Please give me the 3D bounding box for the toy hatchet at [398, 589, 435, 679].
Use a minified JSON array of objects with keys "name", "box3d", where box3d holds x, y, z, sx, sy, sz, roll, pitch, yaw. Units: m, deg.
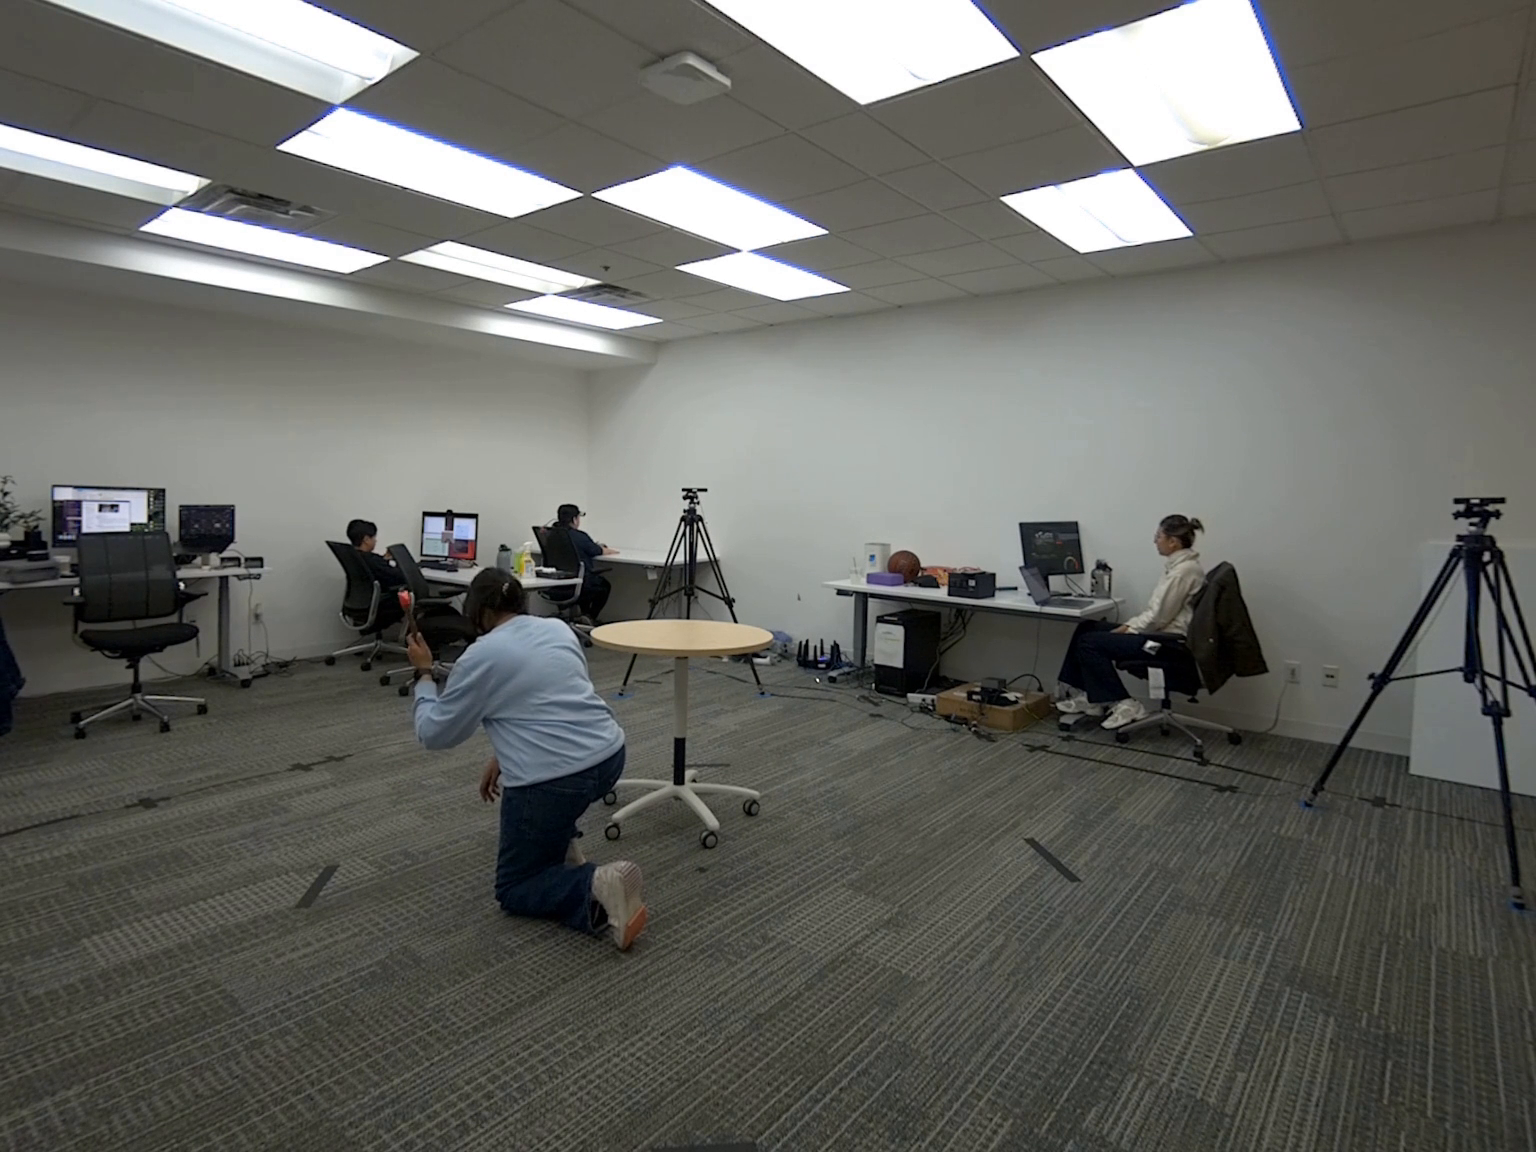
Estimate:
[{"name":"toy hatchet","box3d":[-1.213,0.181,2.925,0.029,0.265,0.136,-17,26,-36]}]
